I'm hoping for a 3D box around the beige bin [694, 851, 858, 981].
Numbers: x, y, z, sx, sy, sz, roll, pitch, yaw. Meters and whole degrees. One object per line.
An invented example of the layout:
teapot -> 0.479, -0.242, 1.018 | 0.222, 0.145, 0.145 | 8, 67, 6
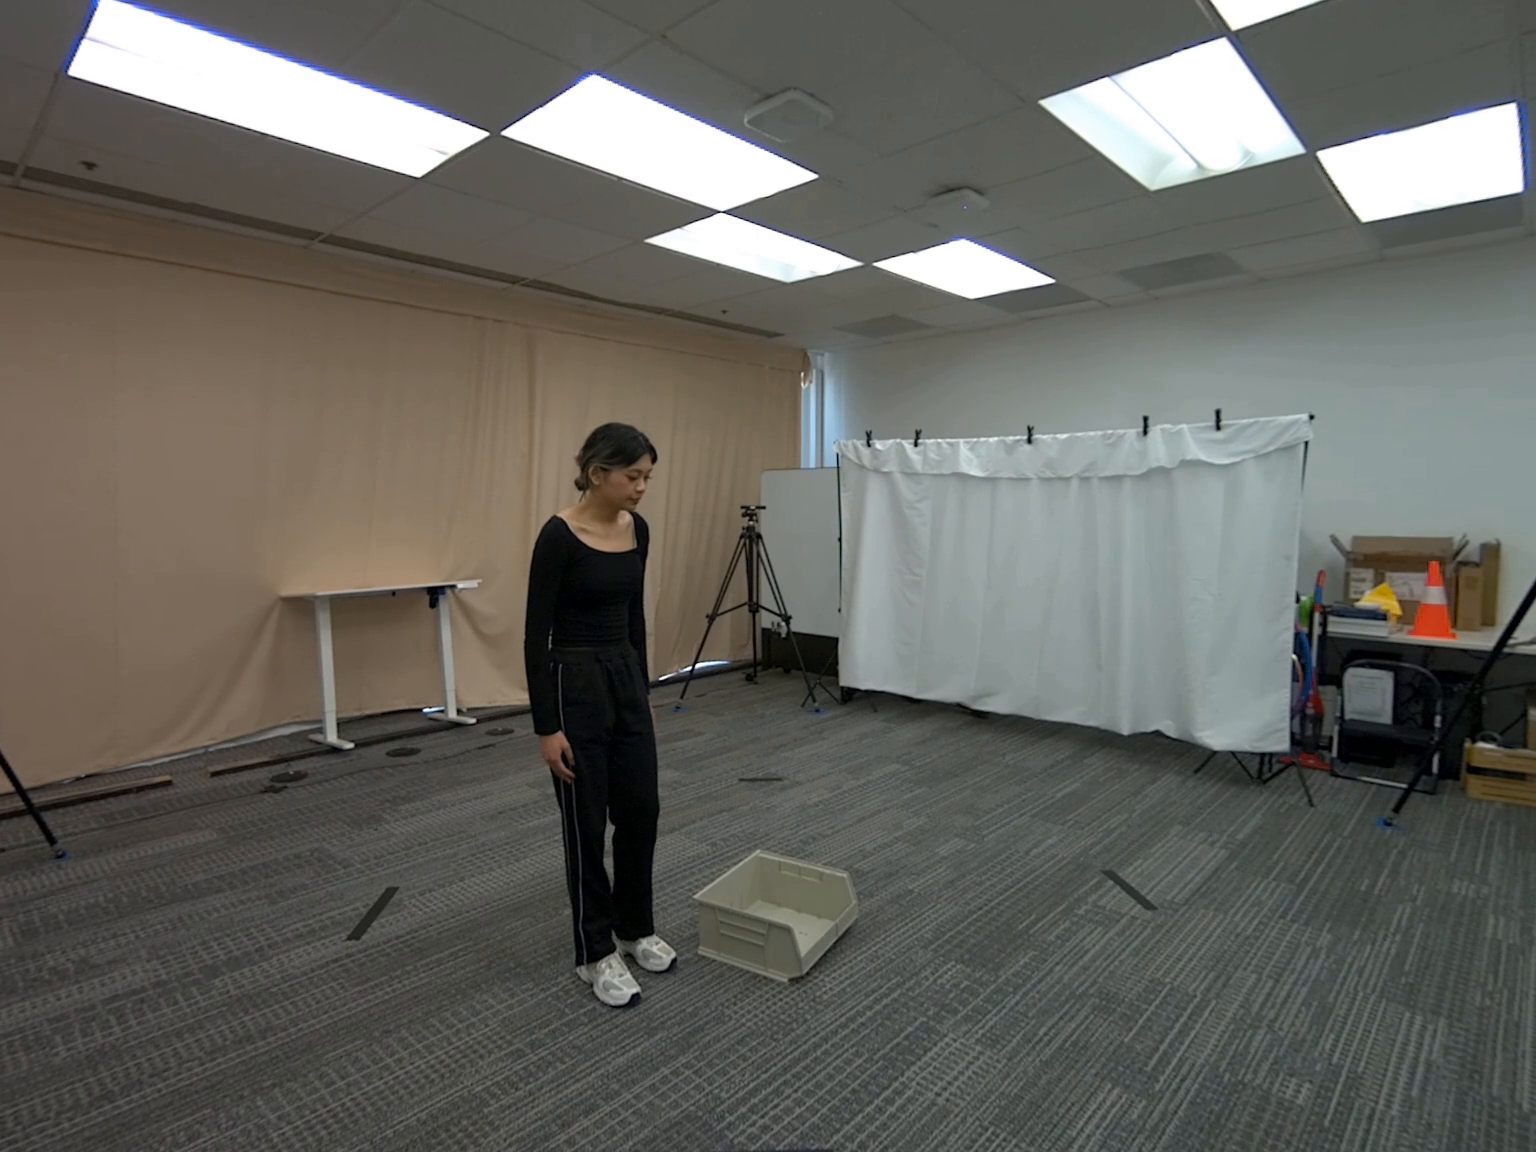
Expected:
beige bin -> 0.034, 1.083, 2.695 | 0.388, 0.188, 0.411 | 2, 6, 30
